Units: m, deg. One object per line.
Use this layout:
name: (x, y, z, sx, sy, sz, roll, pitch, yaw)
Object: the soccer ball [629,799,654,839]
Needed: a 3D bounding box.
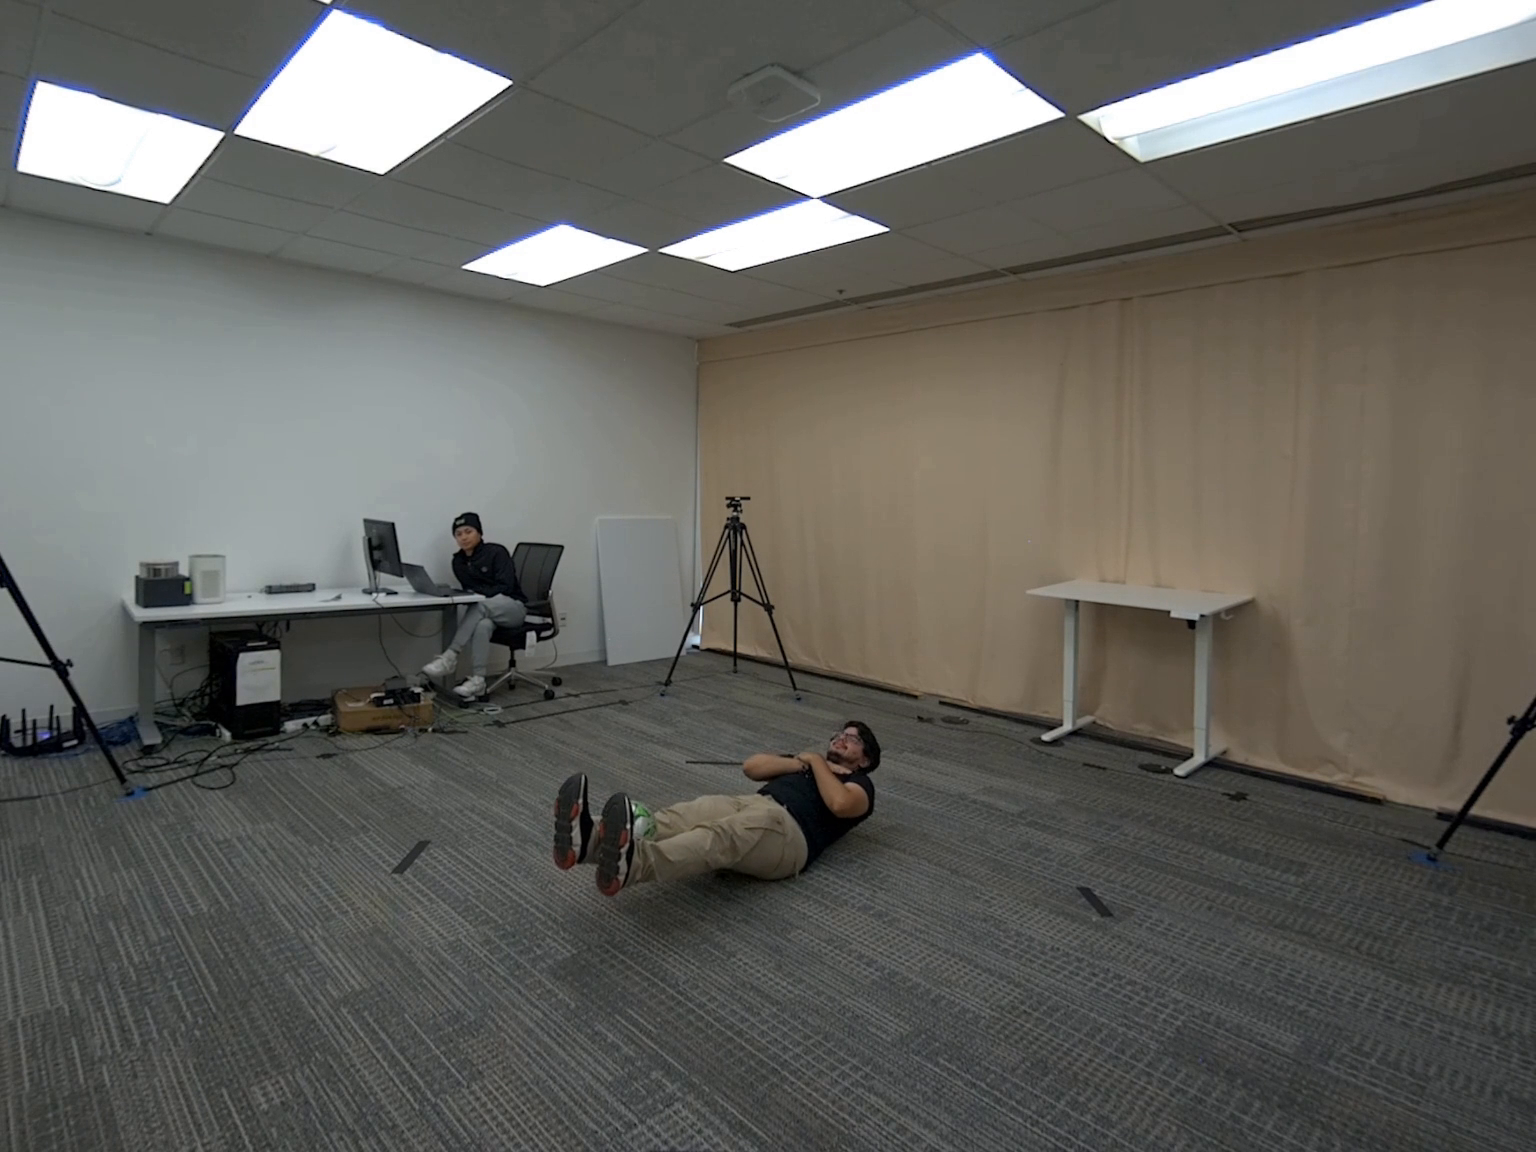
soccer ball: (-0.459, 0.831, 2.714, 0.187, 0.187, 0.188, 1, 5, -1)
